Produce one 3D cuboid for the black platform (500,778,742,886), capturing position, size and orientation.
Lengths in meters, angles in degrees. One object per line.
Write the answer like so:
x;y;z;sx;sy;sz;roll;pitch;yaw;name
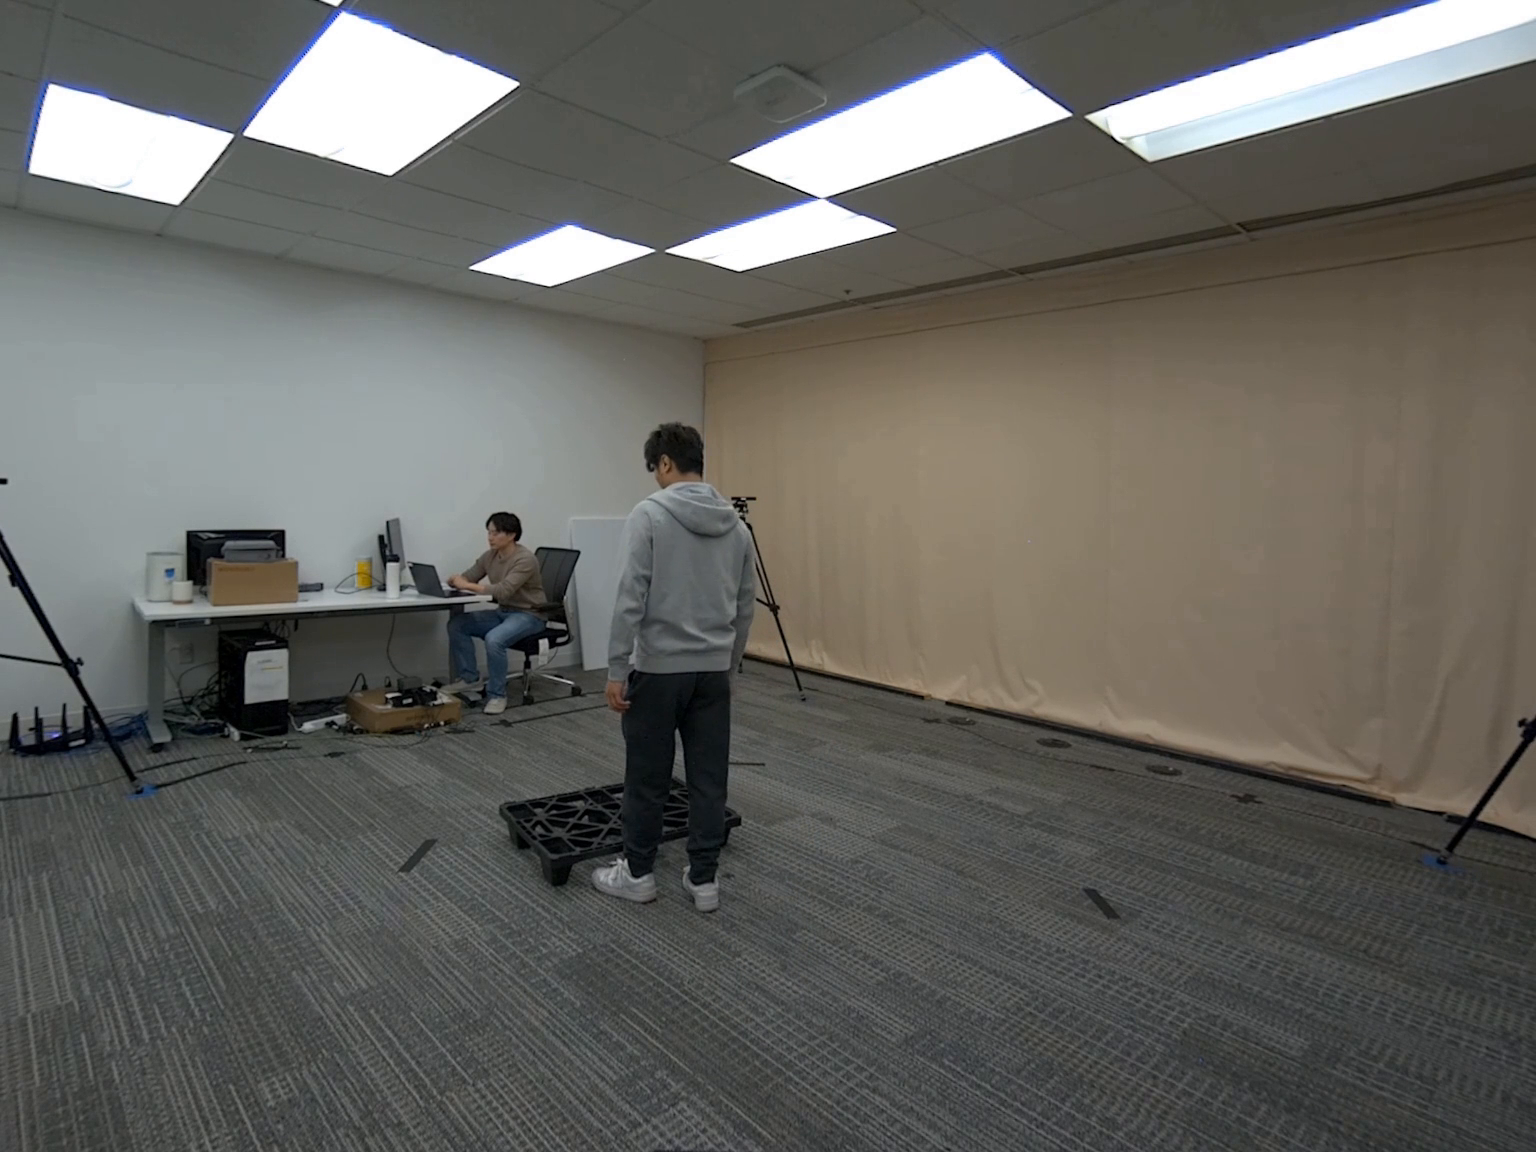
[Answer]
-0.598;1.007;3.374;0.788;0.143;0.620;-2;7;-34;black platform
